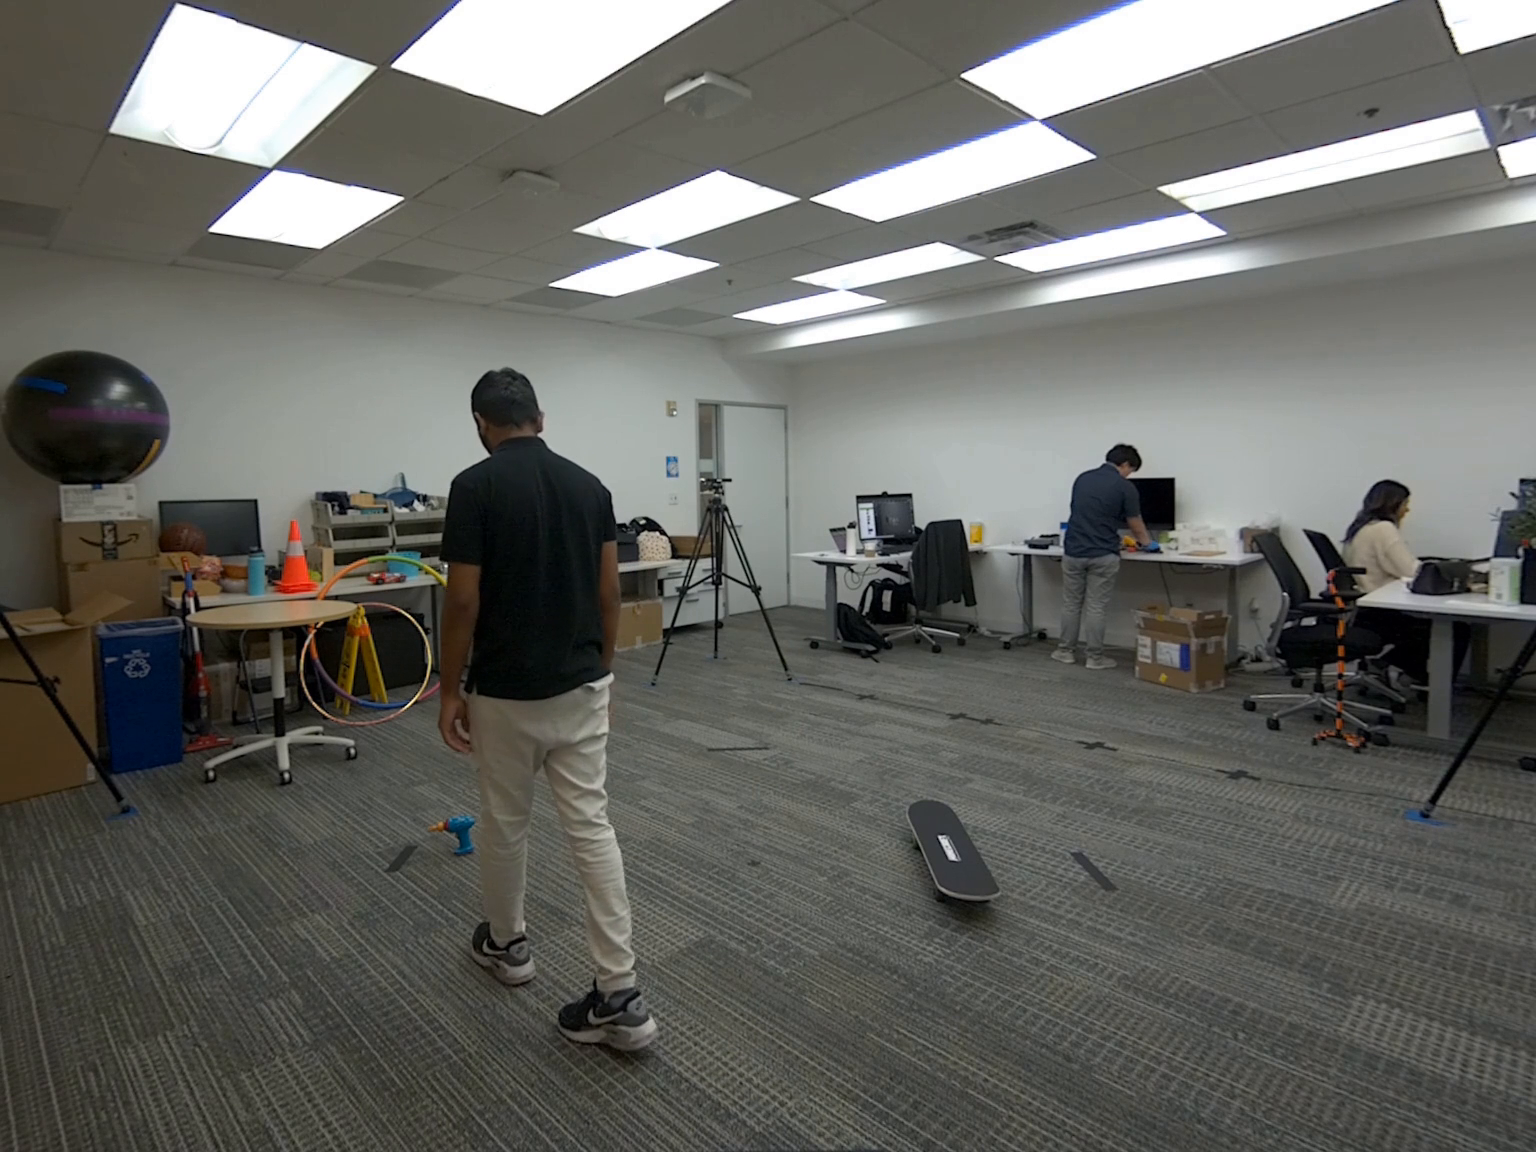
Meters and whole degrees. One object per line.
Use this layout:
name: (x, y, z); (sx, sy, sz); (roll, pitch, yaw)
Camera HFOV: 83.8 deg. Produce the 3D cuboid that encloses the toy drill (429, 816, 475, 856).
toy drill: (-1.196, 0.985, 3.234); (0.168, 0.145, 0.062); (-7, 6, -13)
